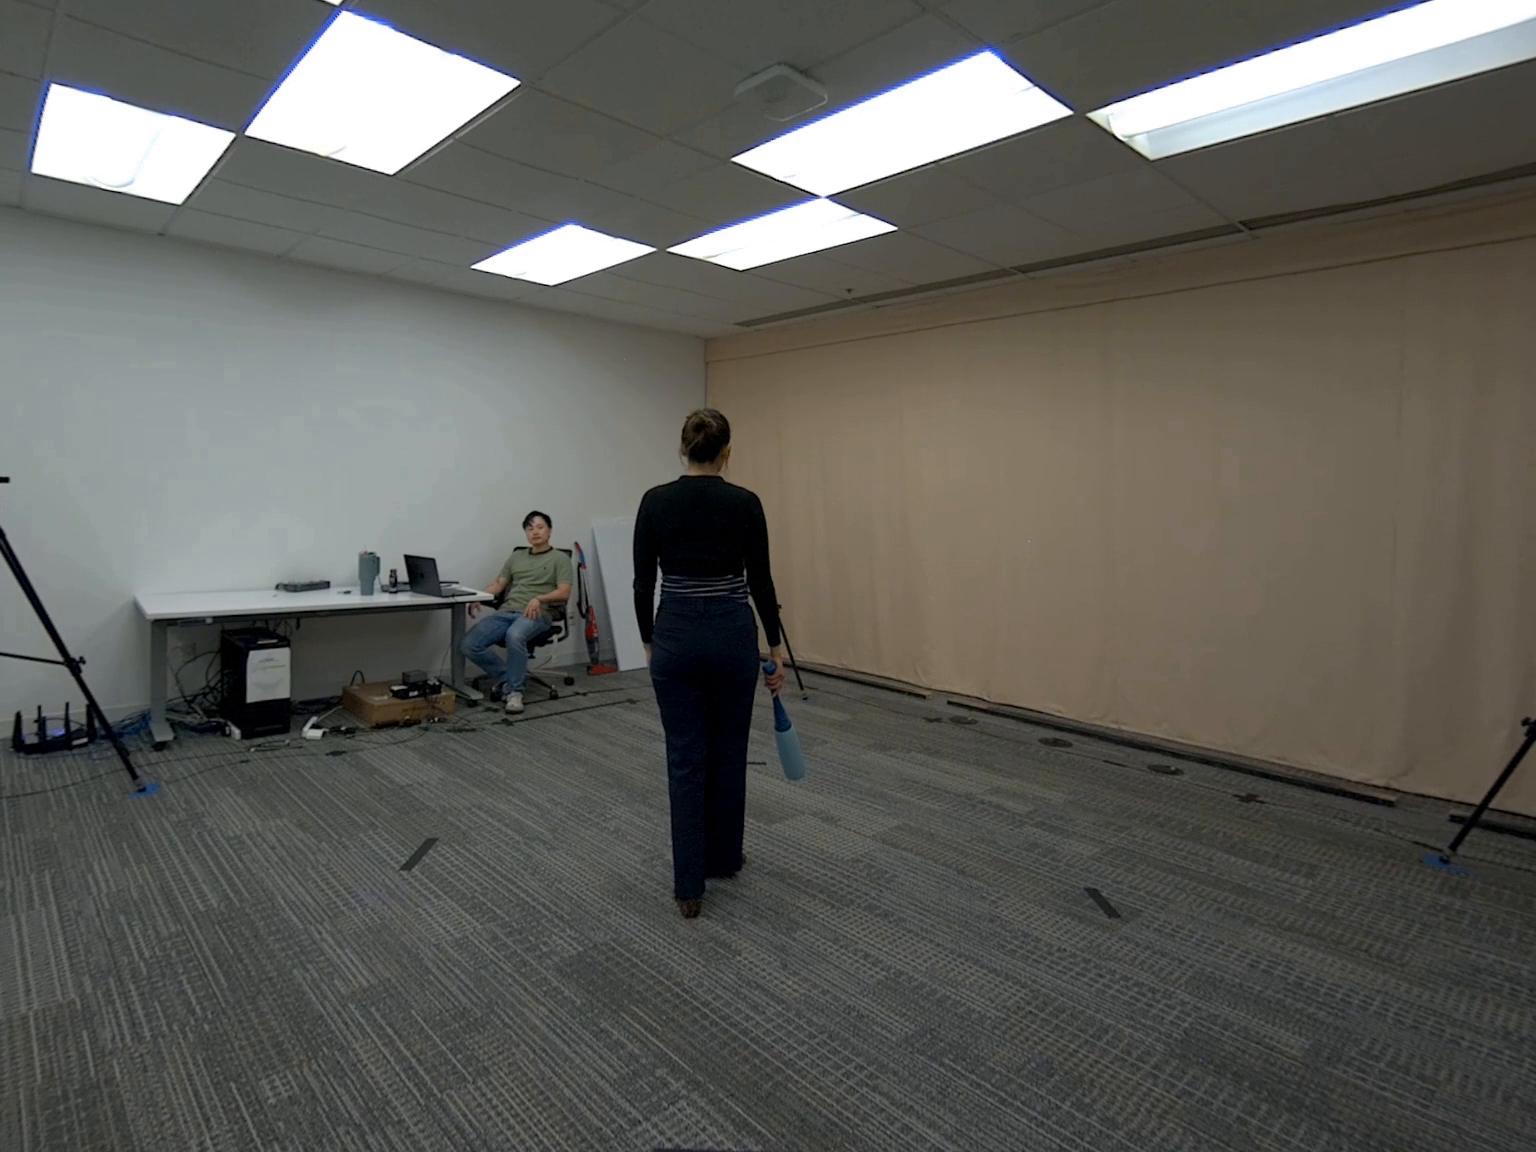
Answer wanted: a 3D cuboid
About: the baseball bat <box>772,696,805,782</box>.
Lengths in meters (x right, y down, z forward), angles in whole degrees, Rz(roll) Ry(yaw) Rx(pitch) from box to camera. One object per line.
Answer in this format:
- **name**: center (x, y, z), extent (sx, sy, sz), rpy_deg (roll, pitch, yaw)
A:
- **baseball bat**: center (0.042, 0.551, 3.142), extent (0.089, 0.530, 0.091), rpy_deg (-12, 29, 6)
